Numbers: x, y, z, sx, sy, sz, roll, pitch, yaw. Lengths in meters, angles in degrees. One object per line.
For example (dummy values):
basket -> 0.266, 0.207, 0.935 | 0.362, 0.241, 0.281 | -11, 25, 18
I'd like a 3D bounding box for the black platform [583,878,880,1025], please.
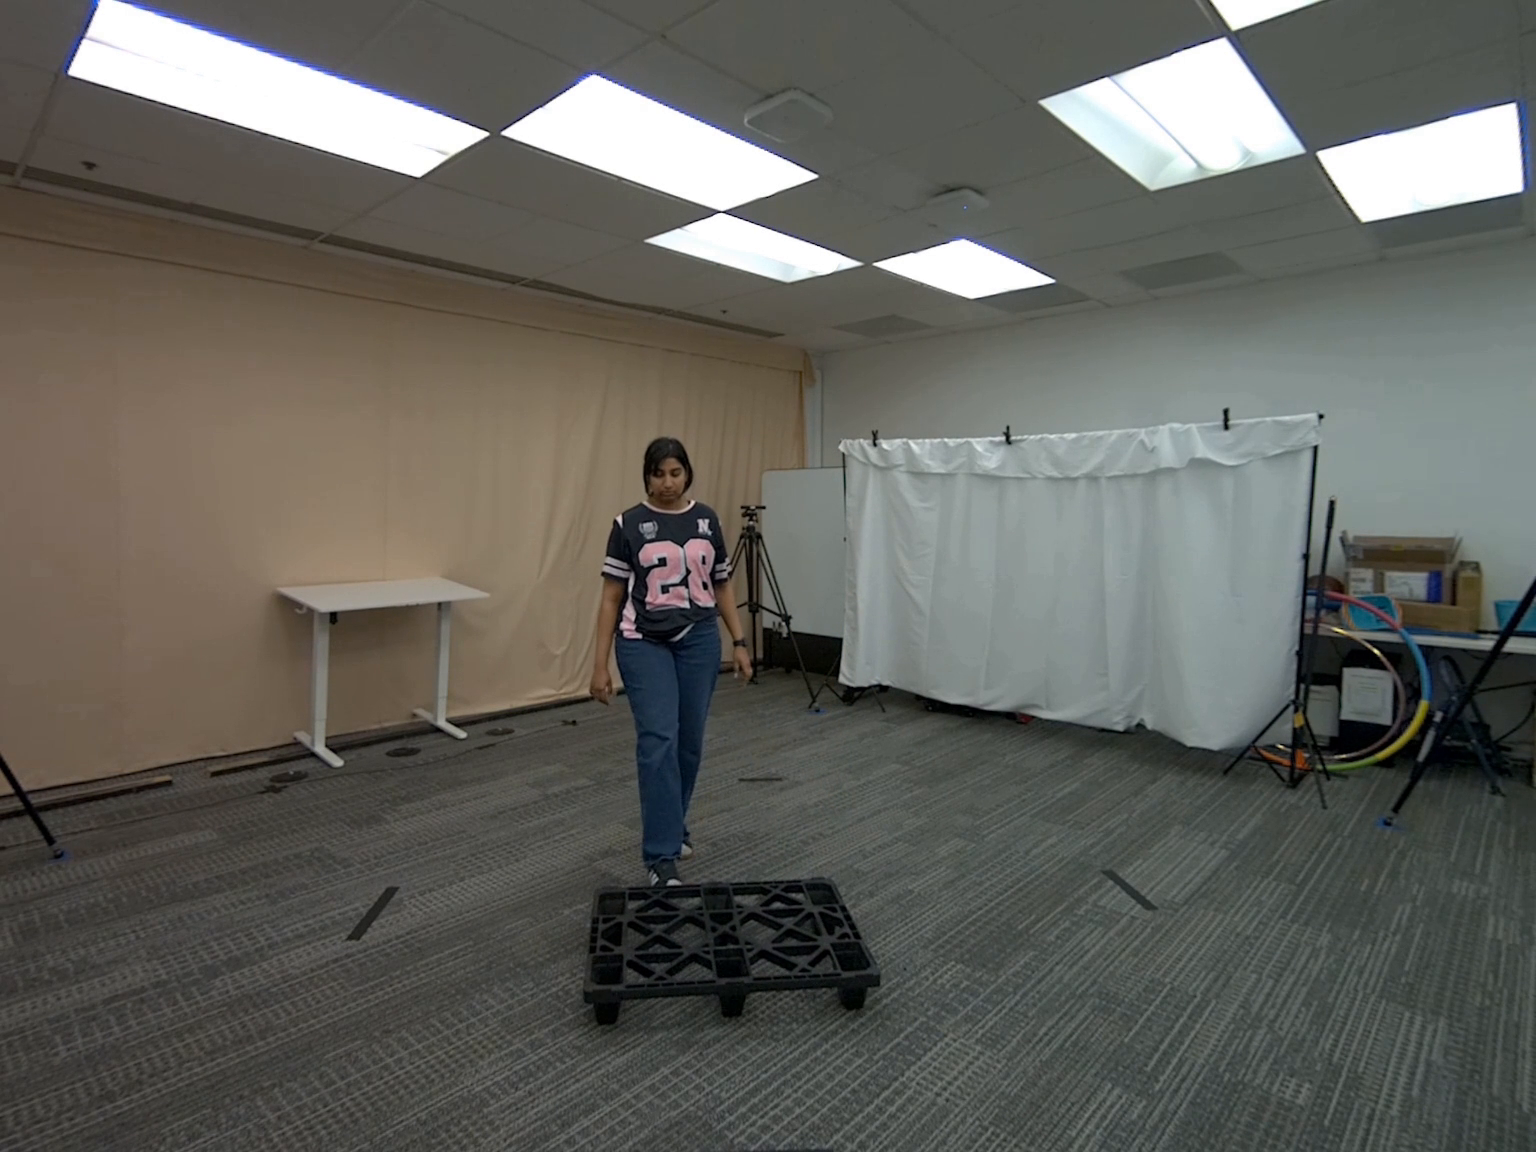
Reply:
black platform -> -0.130, 1.116, 2.523 | 0.800, 0.143, 0.610 | -1, 4, -6
